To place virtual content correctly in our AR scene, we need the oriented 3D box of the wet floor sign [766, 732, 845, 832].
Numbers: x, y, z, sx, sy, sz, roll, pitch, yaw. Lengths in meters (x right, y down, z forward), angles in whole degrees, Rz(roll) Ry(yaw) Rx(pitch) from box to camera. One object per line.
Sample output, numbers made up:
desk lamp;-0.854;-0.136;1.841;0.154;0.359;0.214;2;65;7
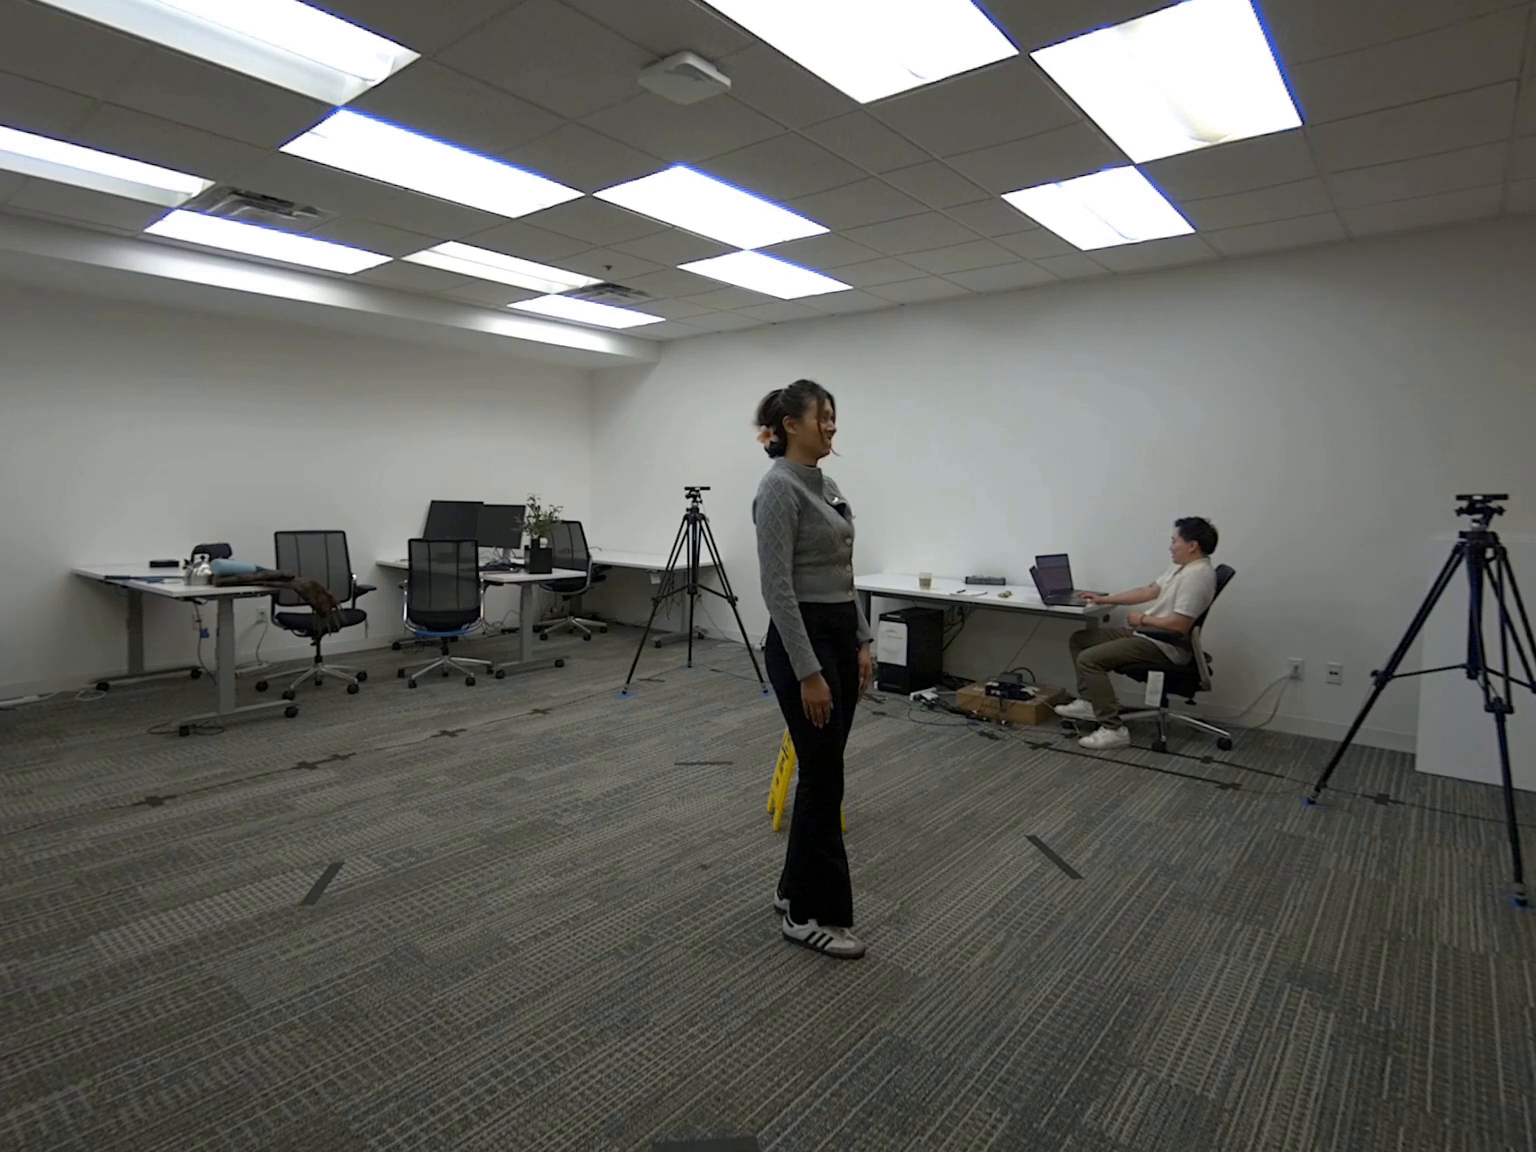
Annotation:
wet floor sign;0.158;0.701;3.577;0.288;0.644;0.285;2;4;-6
